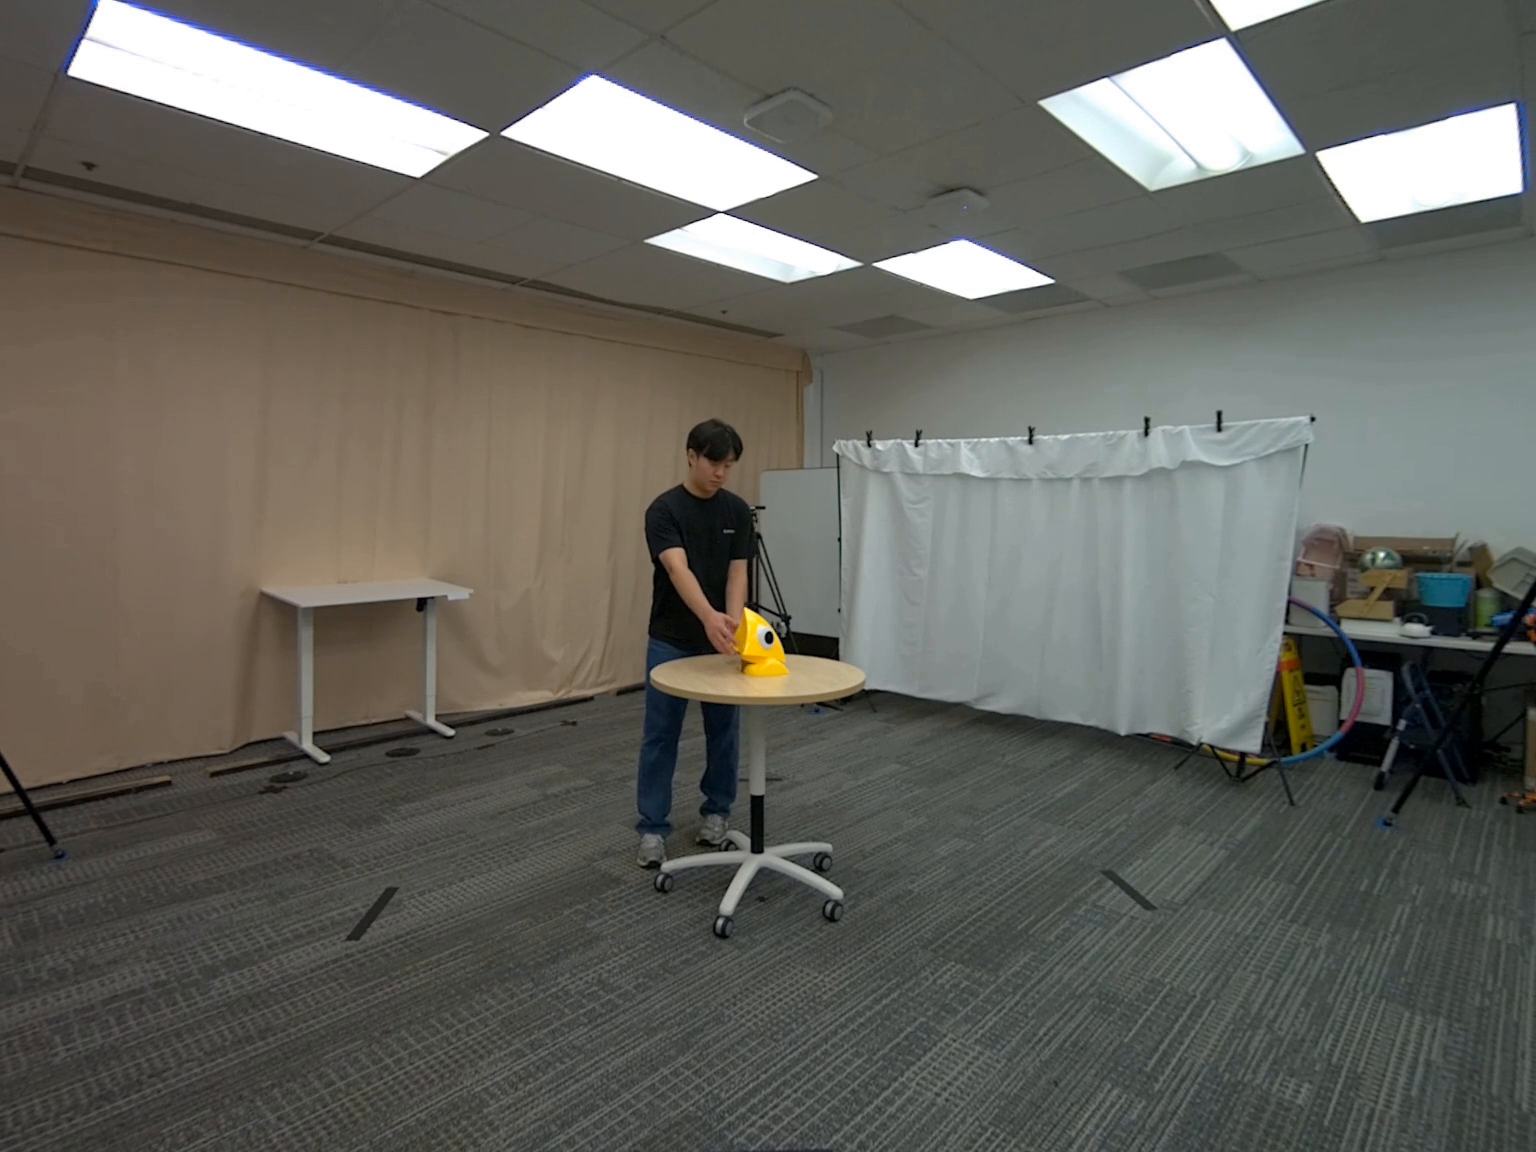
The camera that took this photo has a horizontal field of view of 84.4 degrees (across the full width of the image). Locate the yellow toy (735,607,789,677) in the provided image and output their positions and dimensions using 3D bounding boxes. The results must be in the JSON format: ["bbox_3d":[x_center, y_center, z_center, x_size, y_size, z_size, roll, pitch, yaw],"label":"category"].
[{"bbox_3d":[-0.019,0.228,3.039,0.190,0.230,0.208,-1,4,-15],"label":"yellow toy"}]
